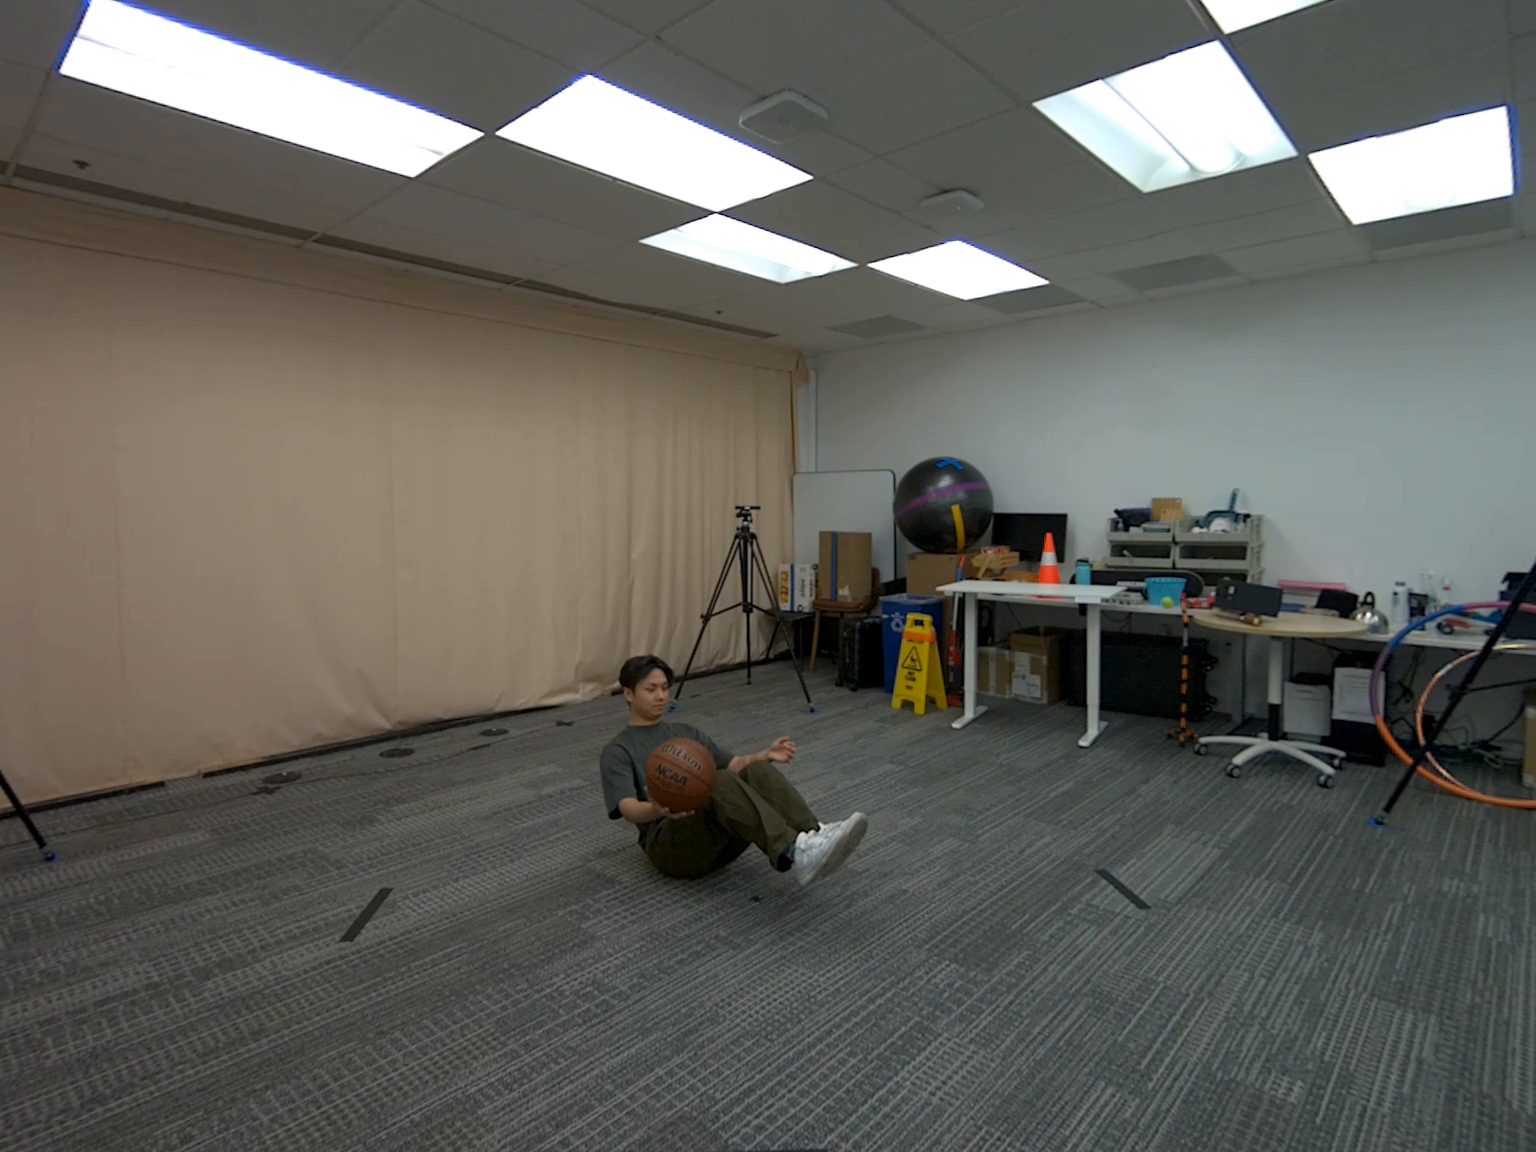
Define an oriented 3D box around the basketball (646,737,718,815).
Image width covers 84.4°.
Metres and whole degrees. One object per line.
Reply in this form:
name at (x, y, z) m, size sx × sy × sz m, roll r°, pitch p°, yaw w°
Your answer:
basketball at (-0.277, 0.664, 2.801) m, size 0.236 × 0.235 × 0.237 m, roll 0°, pitch 4°, yaw -2°
